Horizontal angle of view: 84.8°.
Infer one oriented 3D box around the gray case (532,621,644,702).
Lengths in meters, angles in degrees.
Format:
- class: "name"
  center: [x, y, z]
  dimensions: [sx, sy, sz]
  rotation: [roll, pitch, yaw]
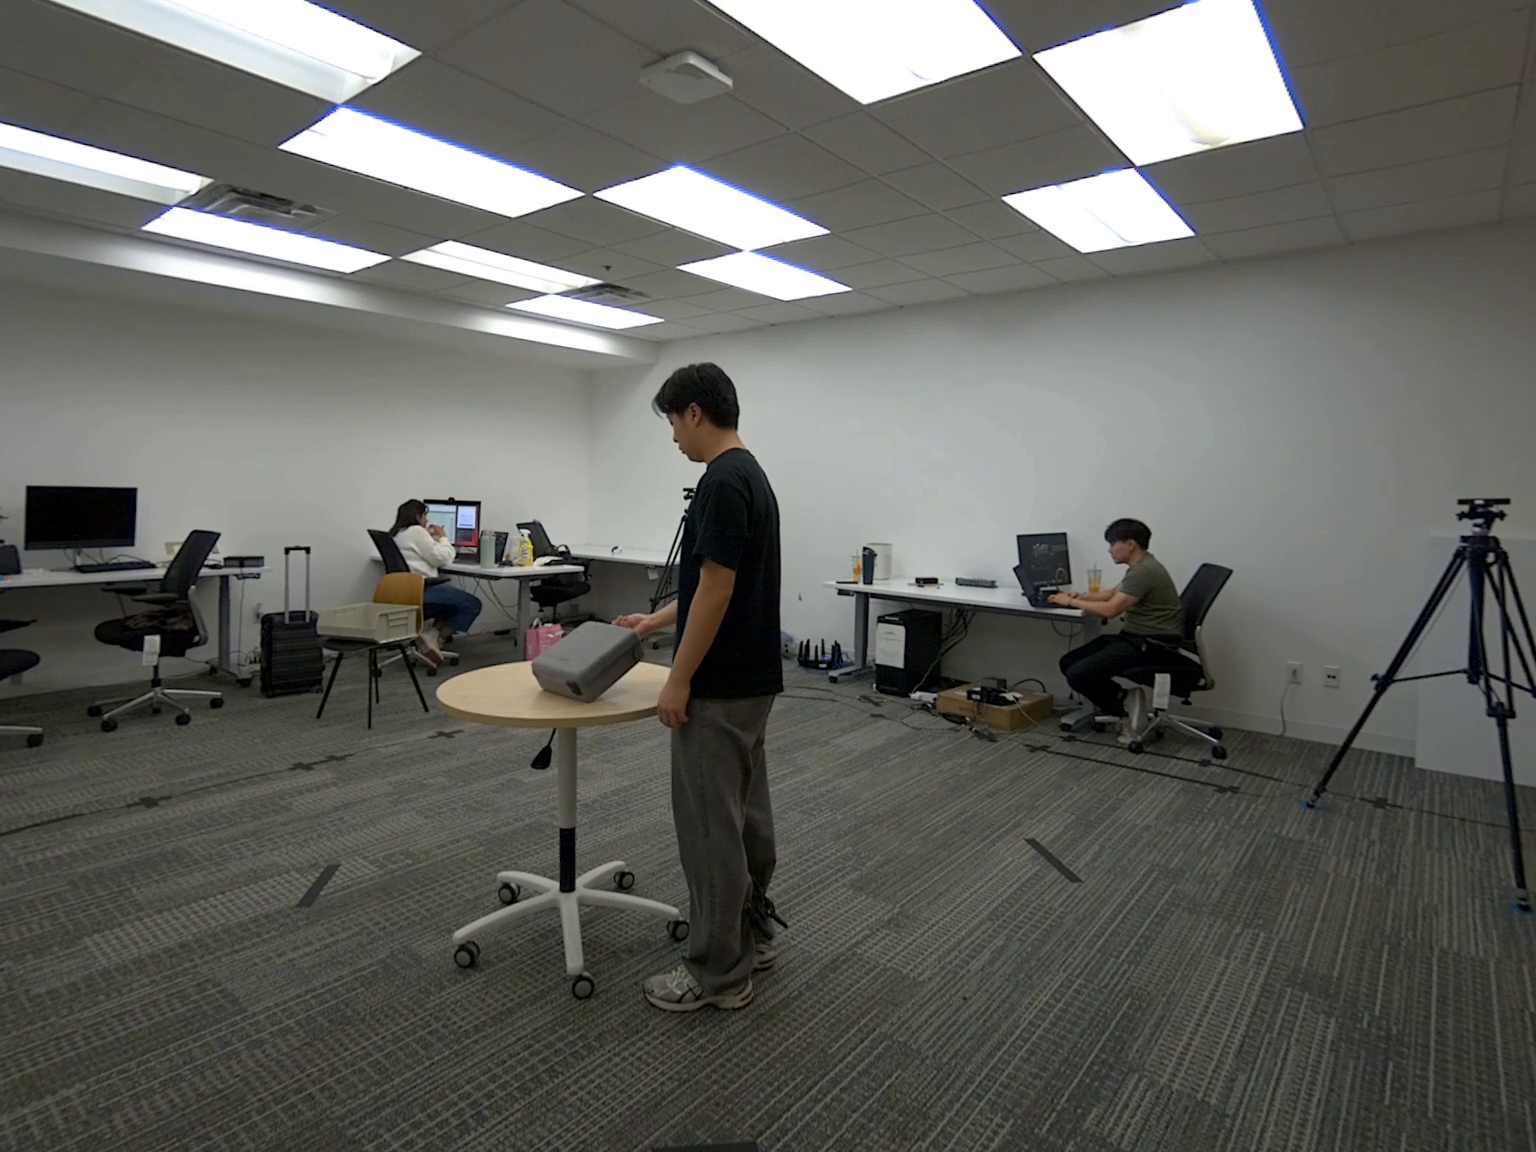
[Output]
- class: "gray case"
  center: [-0.537, 0.239, 2.523]
  dimensions: [0.272, 0.100, 0.285]
  rotation: [5, 32, 42]
